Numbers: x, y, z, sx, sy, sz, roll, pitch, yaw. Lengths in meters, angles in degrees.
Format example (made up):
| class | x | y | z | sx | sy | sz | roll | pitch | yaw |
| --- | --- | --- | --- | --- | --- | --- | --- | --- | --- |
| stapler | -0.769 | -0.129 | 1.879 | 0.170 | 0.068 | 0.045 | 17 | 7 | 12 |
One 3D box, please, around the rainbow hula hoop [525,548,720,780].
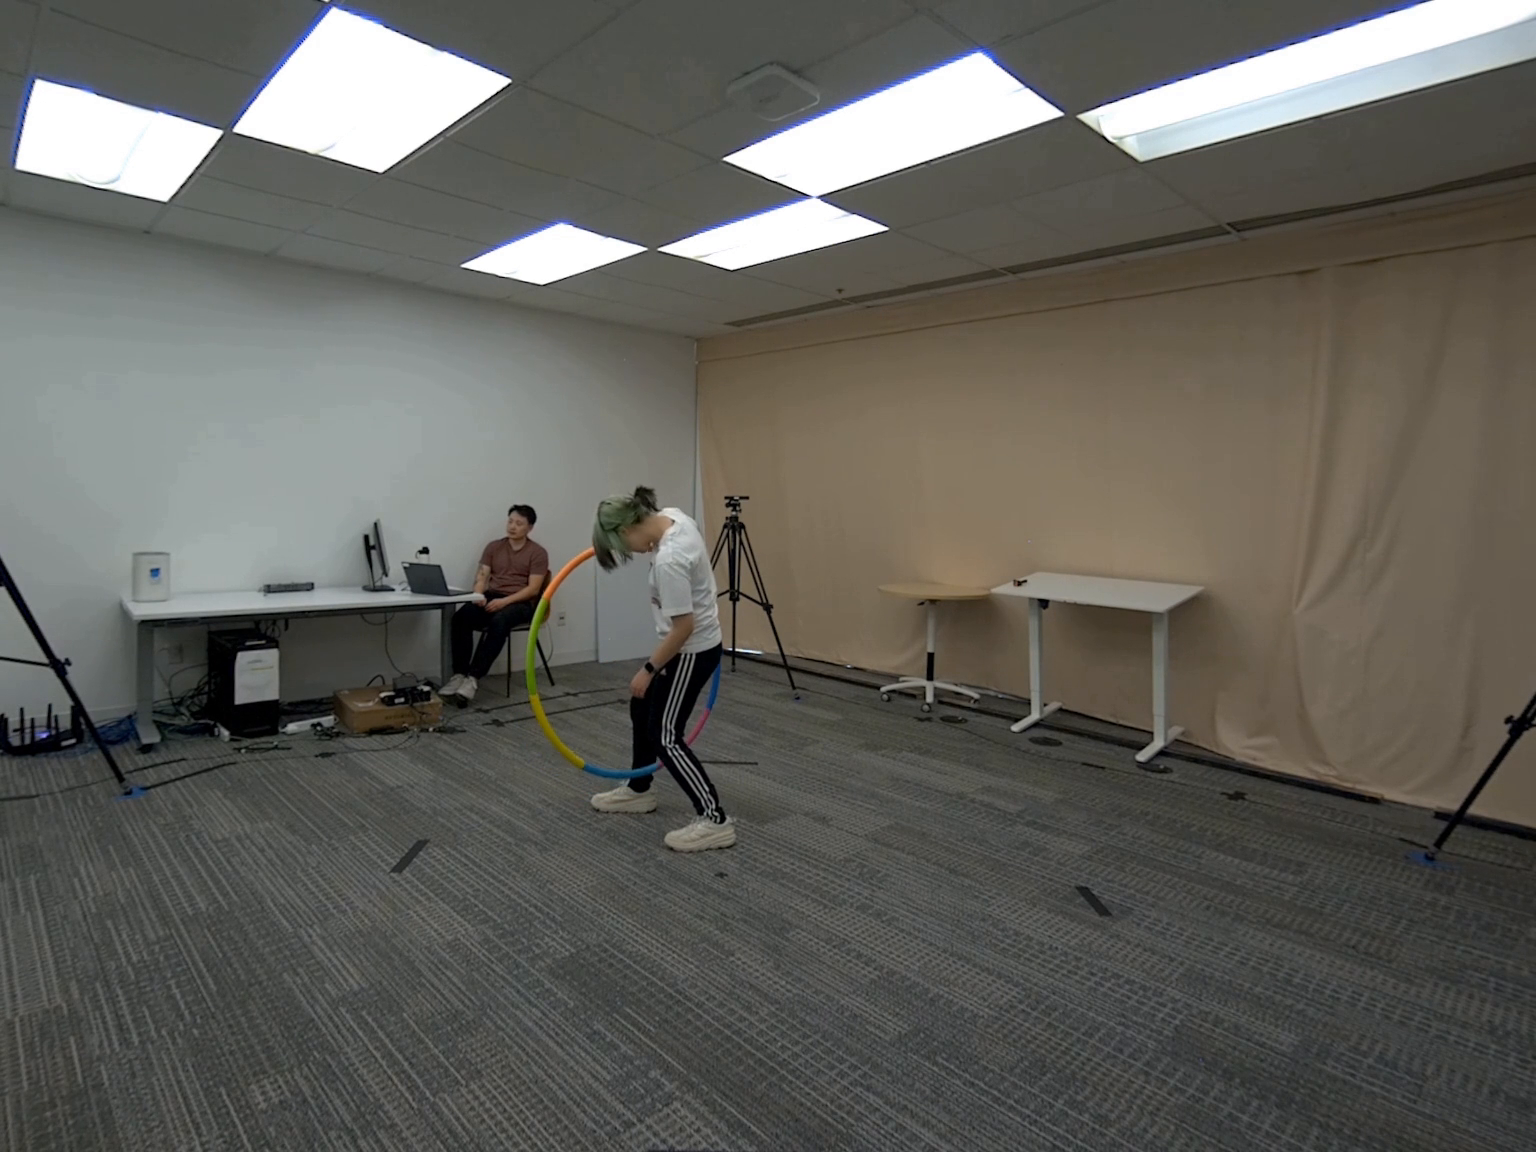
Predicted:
| class | x | y | z | sx | sy | sz | roll | pitch | yaw |
| --- | --- | --- | --- | --- | --- | --- | --- | --- | --- |
| rainbow hula hoop | -0.588 | 0.347 | 3.572 | 0.956 | 0.981 | 0.036 | -3 | -4 | -43 |
